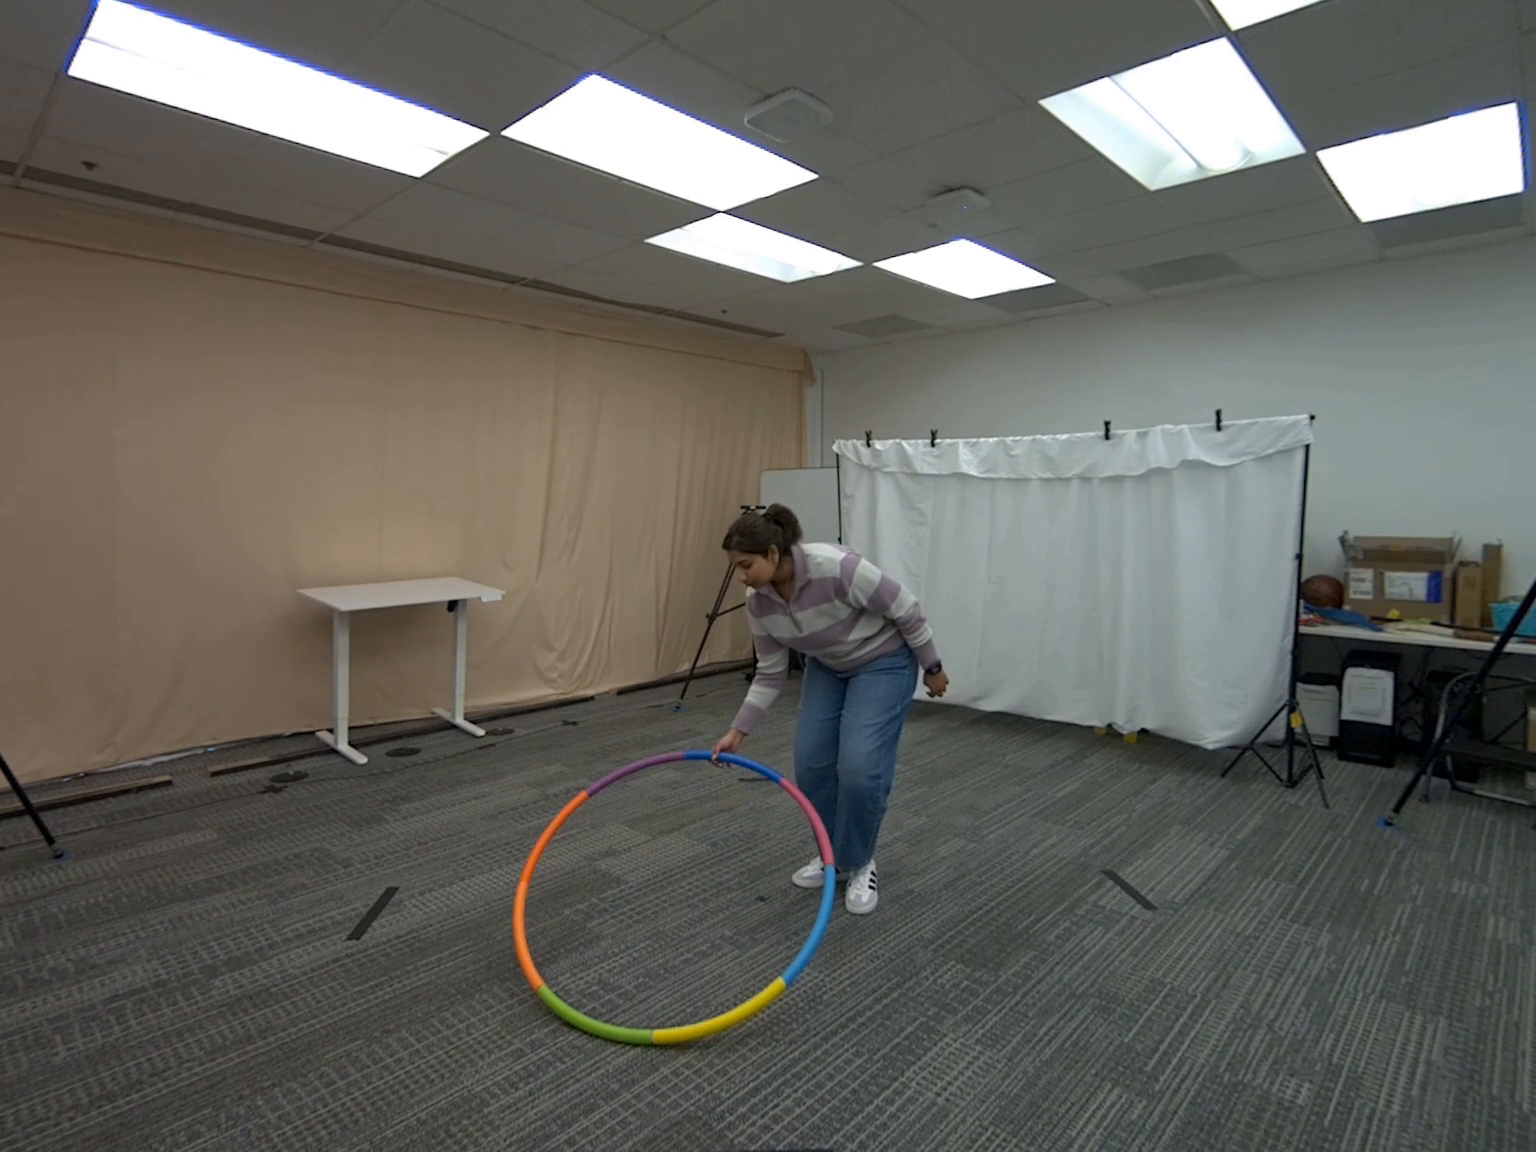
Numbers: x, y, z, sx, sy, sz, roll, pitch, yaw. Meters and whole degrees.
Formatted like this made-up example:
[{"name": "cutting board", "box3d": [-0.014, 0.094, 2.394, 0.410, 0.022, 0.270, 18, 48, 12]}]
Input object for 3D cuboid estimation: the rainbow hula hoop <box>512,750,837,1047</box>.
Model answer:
[{"name": "rainbow hula hoop", "box3d": [-0.285, 0.917, 2.563, 0.991, 0.050, 1.004, -9, 35, 5]}]
